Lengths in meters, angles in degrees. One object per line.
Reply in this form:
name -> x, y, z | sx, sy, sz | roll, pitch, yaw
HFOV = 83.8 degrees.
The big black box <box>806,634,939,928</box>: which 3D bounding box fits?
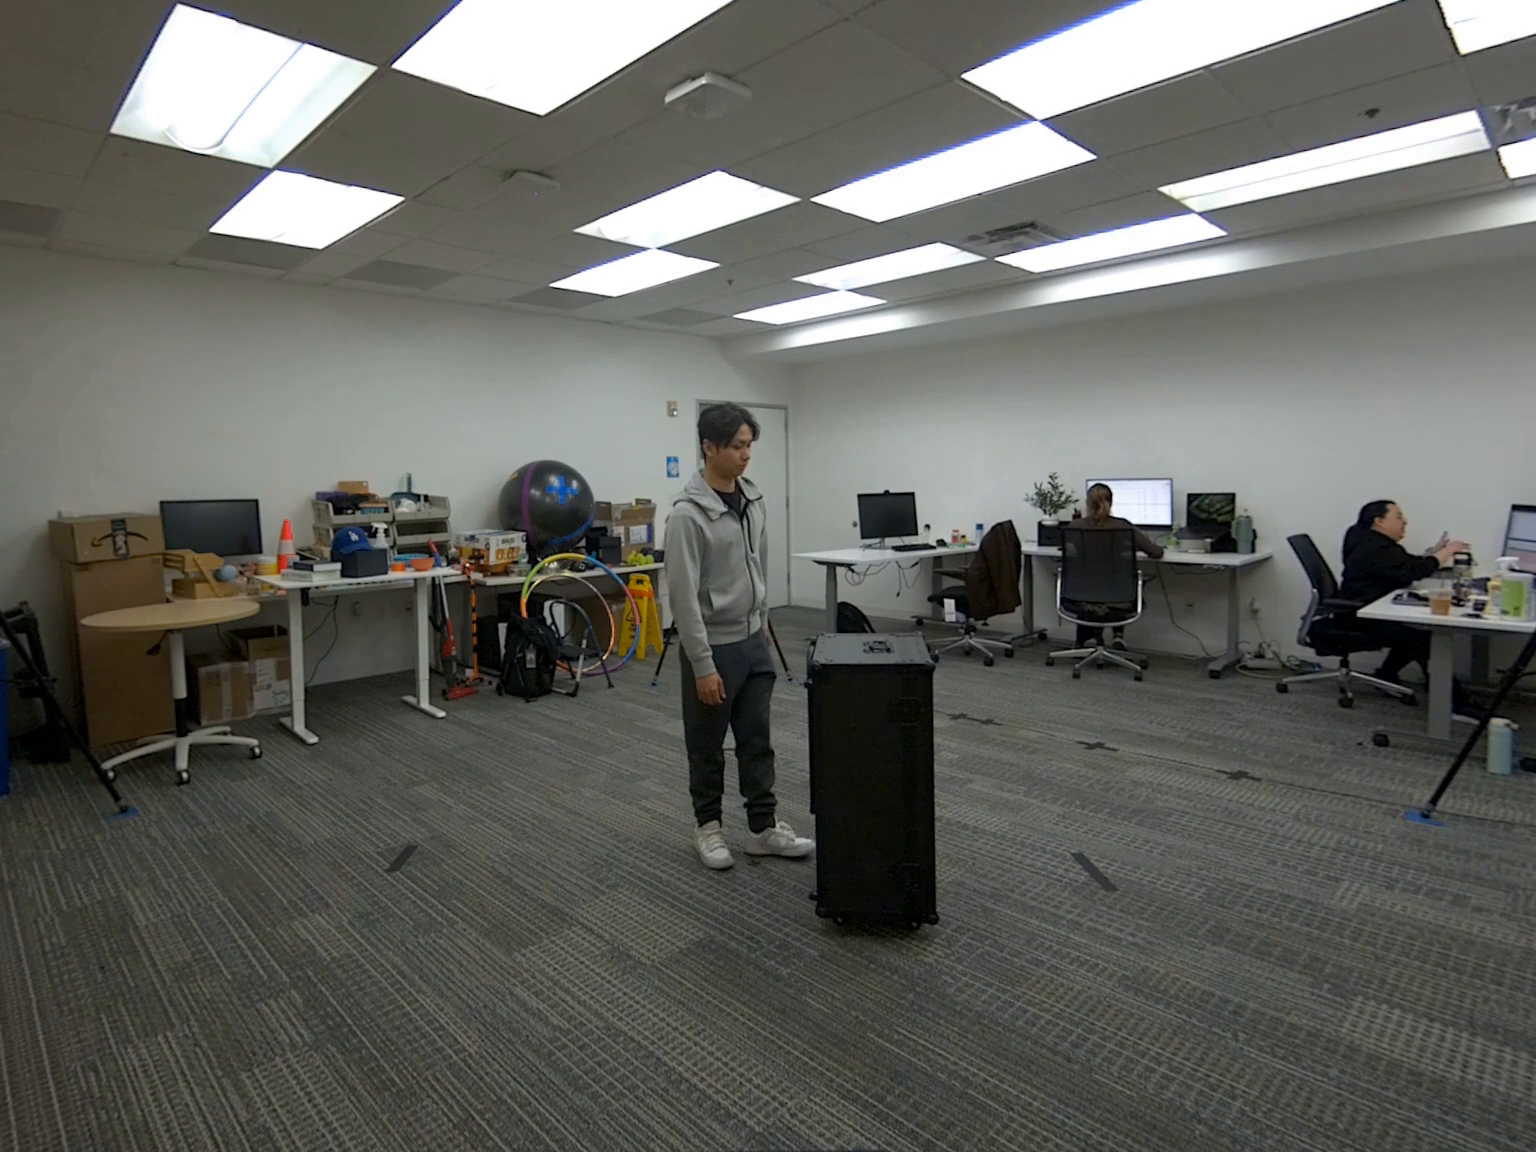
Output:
big black box -> 0.332, 0.652, 2.762 | 0.400, 0.858, 0.519 | -2, 4, 8
